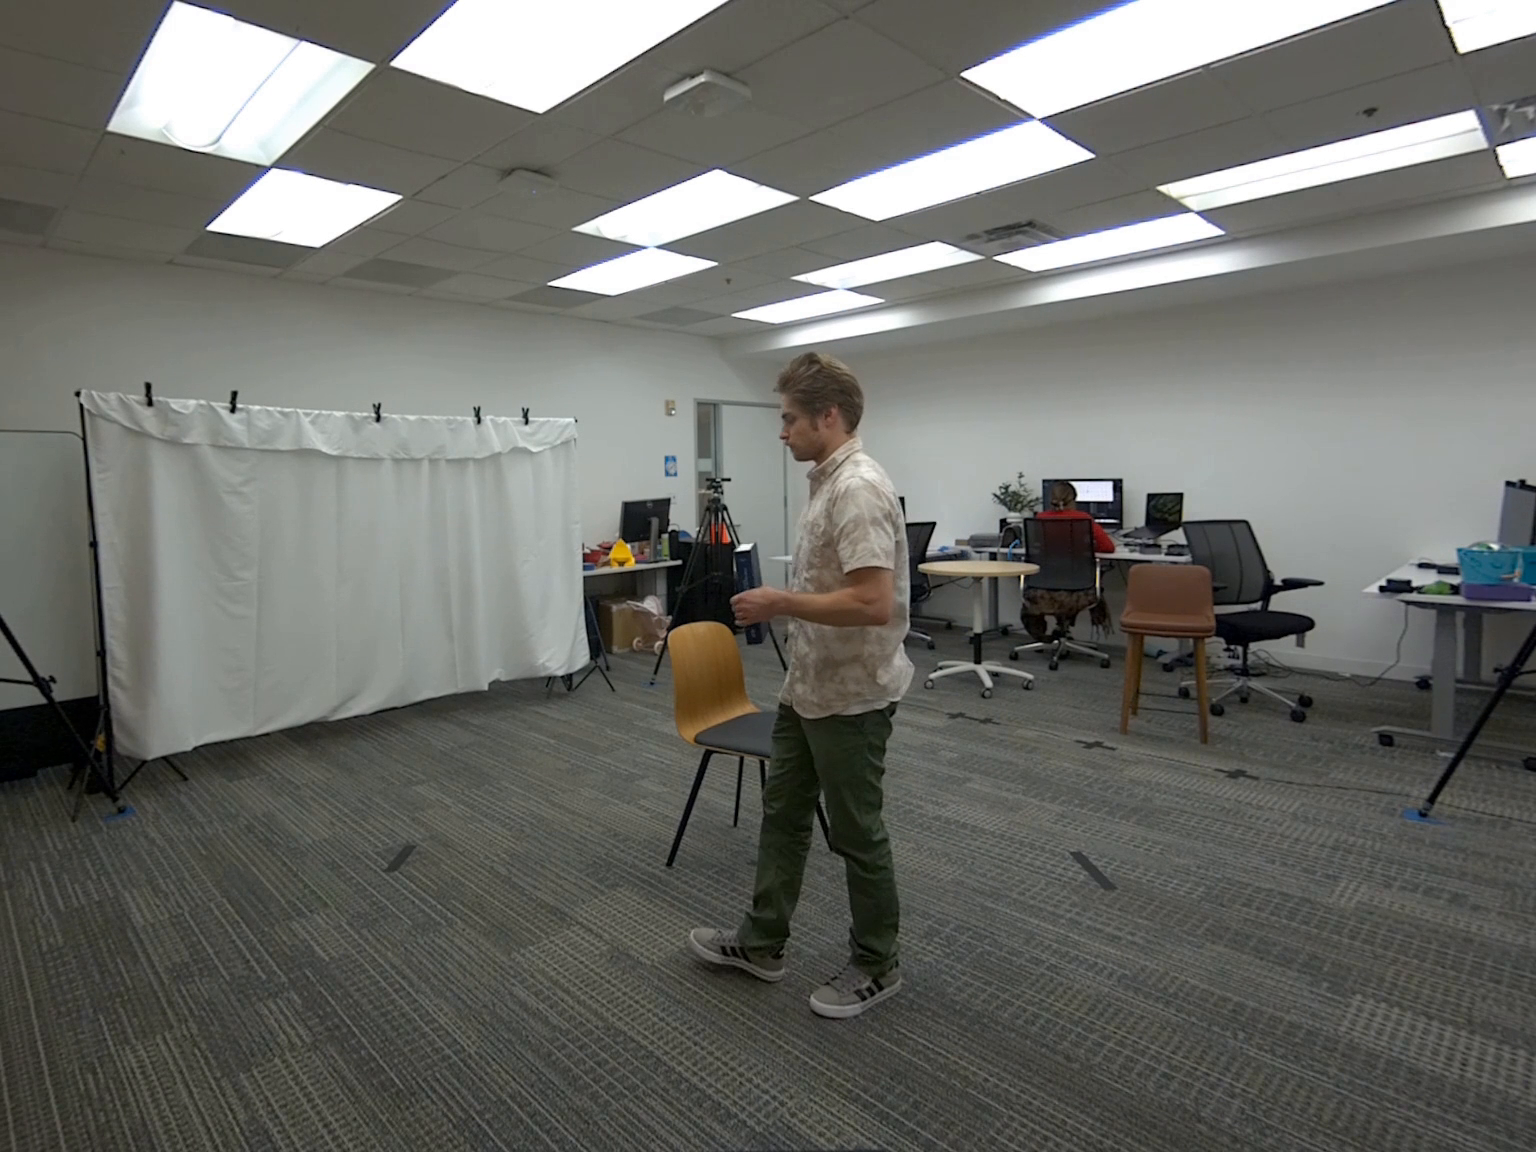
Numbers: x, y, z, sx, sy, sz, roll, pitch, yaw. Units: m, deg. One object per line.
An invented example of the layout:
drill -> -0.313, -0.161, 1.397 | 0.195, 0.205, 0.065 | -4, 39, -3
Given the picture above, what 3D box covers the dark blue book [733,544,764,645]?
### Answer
dark blue book -> -0.041, 0.038, 2.242 | 0.045, 0.243, 0.163 | -9, 7, 7
